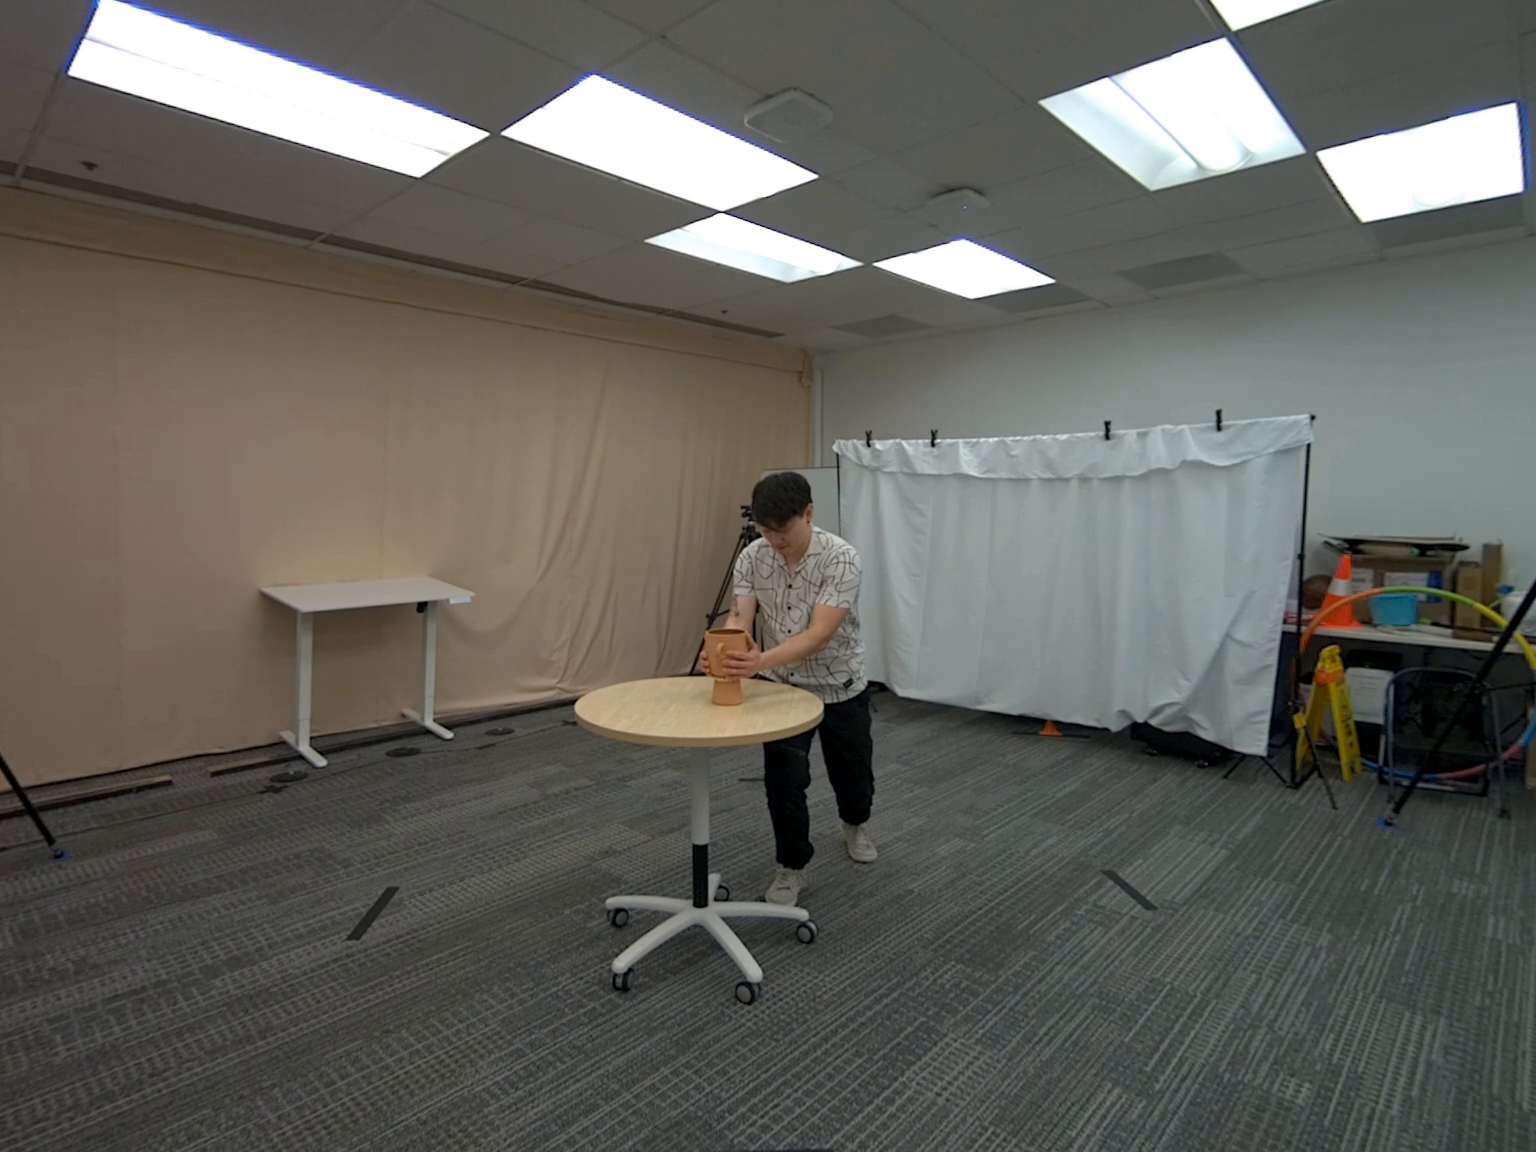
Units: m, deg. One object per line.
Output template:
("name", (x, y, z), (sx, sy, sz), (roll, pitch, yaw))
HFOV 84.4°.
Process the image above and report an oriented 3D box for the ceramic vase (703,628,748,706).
("ceramic vase", (-0.123, 0.286, 2.599), (0.154, 0.219, 0.139), (-3, 4, -38))
